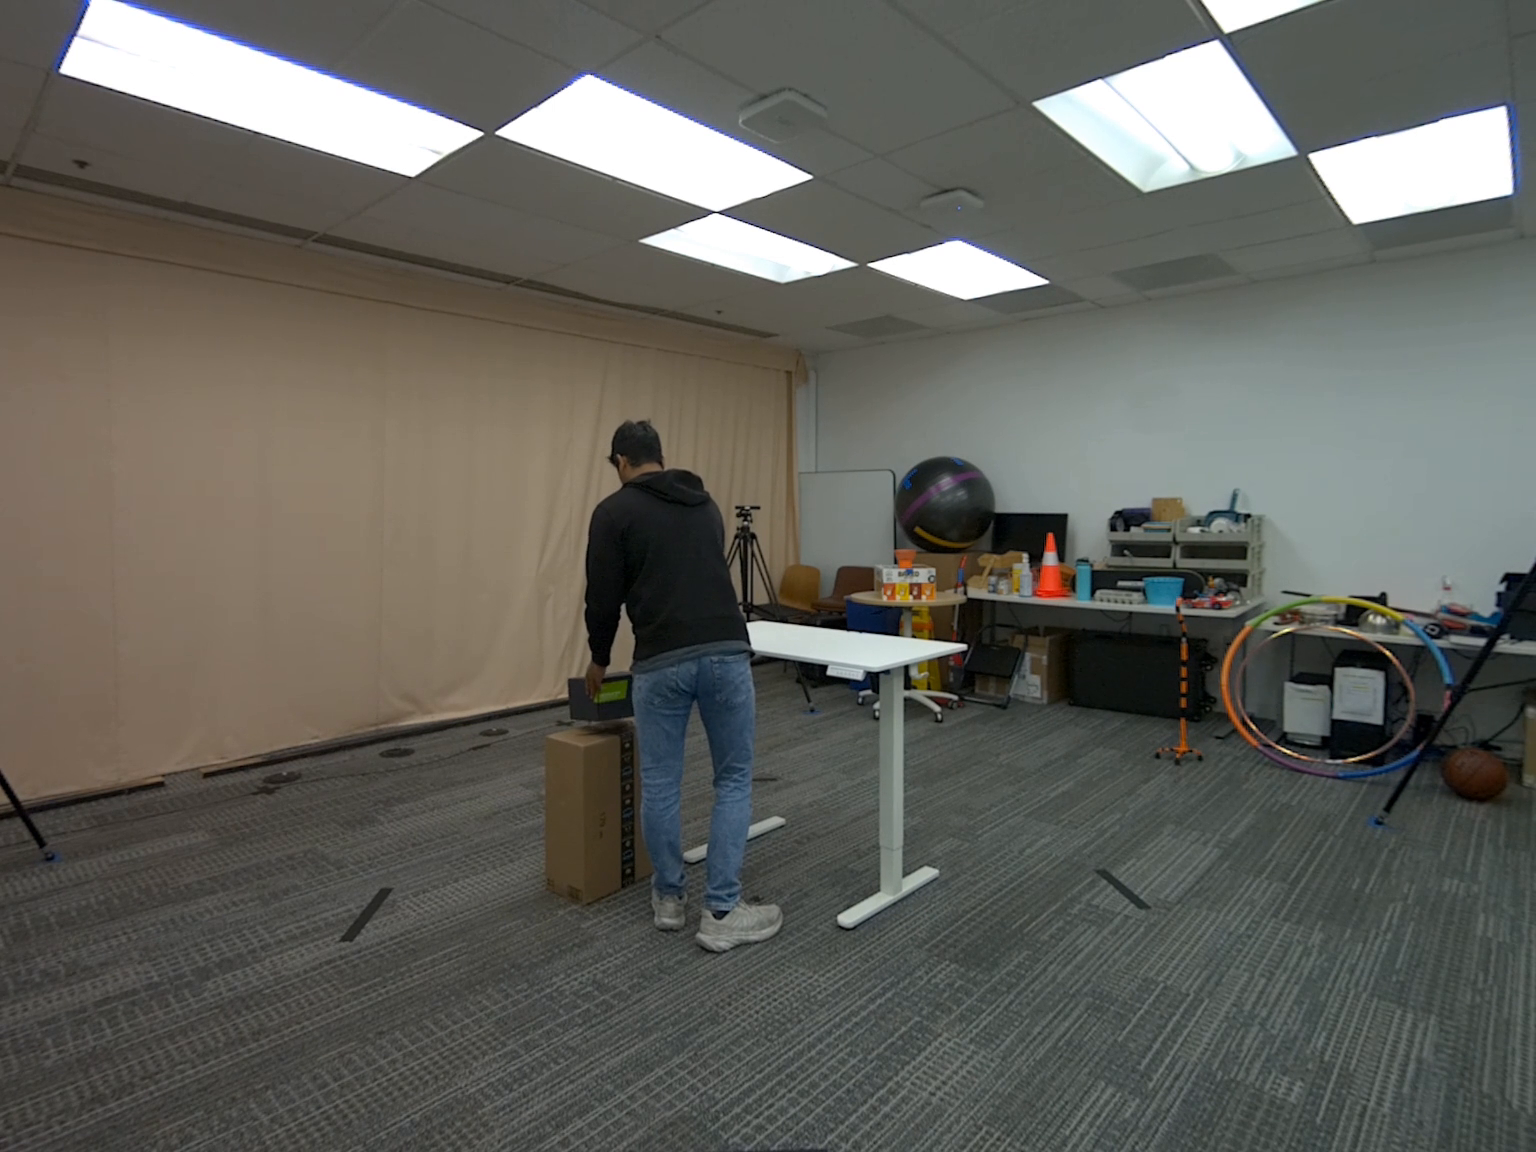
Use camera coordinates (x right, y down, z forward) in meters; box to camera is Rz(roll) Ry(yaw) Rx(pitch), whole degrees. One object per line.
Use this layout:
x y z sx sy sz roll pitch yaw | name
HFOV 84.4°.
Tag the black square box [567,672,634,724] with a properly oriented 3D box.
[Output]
-0.596 0.435 3.160 0.221 0.156 0.223 -1 -2 -41 | black square box
